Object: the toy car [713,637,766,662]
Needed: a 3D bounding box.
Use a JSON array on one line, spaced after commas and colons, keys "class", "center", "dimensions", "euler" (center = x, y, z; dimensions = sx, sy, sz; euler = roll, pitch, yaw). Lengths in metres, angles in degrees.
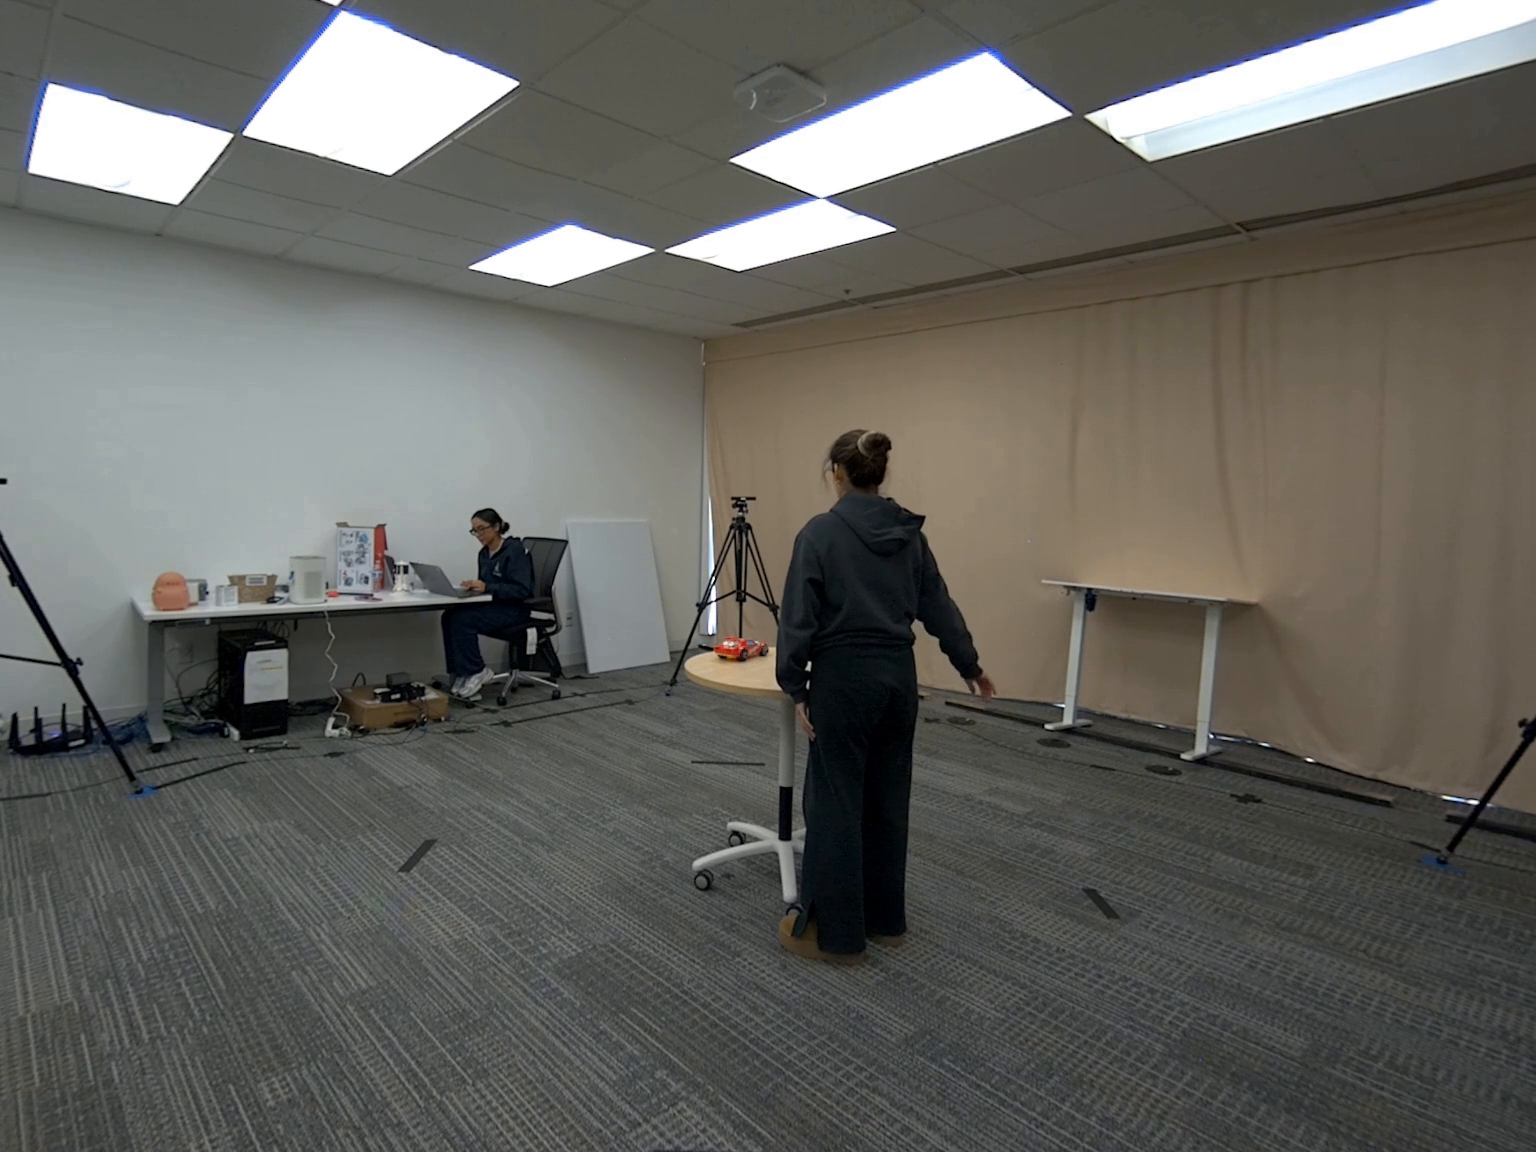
[{"class": "toy car", "center": [-0.117, 0.283, 3.215], "dimensions": [0.133, 0.083, 0.248], "euler": [5, -5, 32]}]
